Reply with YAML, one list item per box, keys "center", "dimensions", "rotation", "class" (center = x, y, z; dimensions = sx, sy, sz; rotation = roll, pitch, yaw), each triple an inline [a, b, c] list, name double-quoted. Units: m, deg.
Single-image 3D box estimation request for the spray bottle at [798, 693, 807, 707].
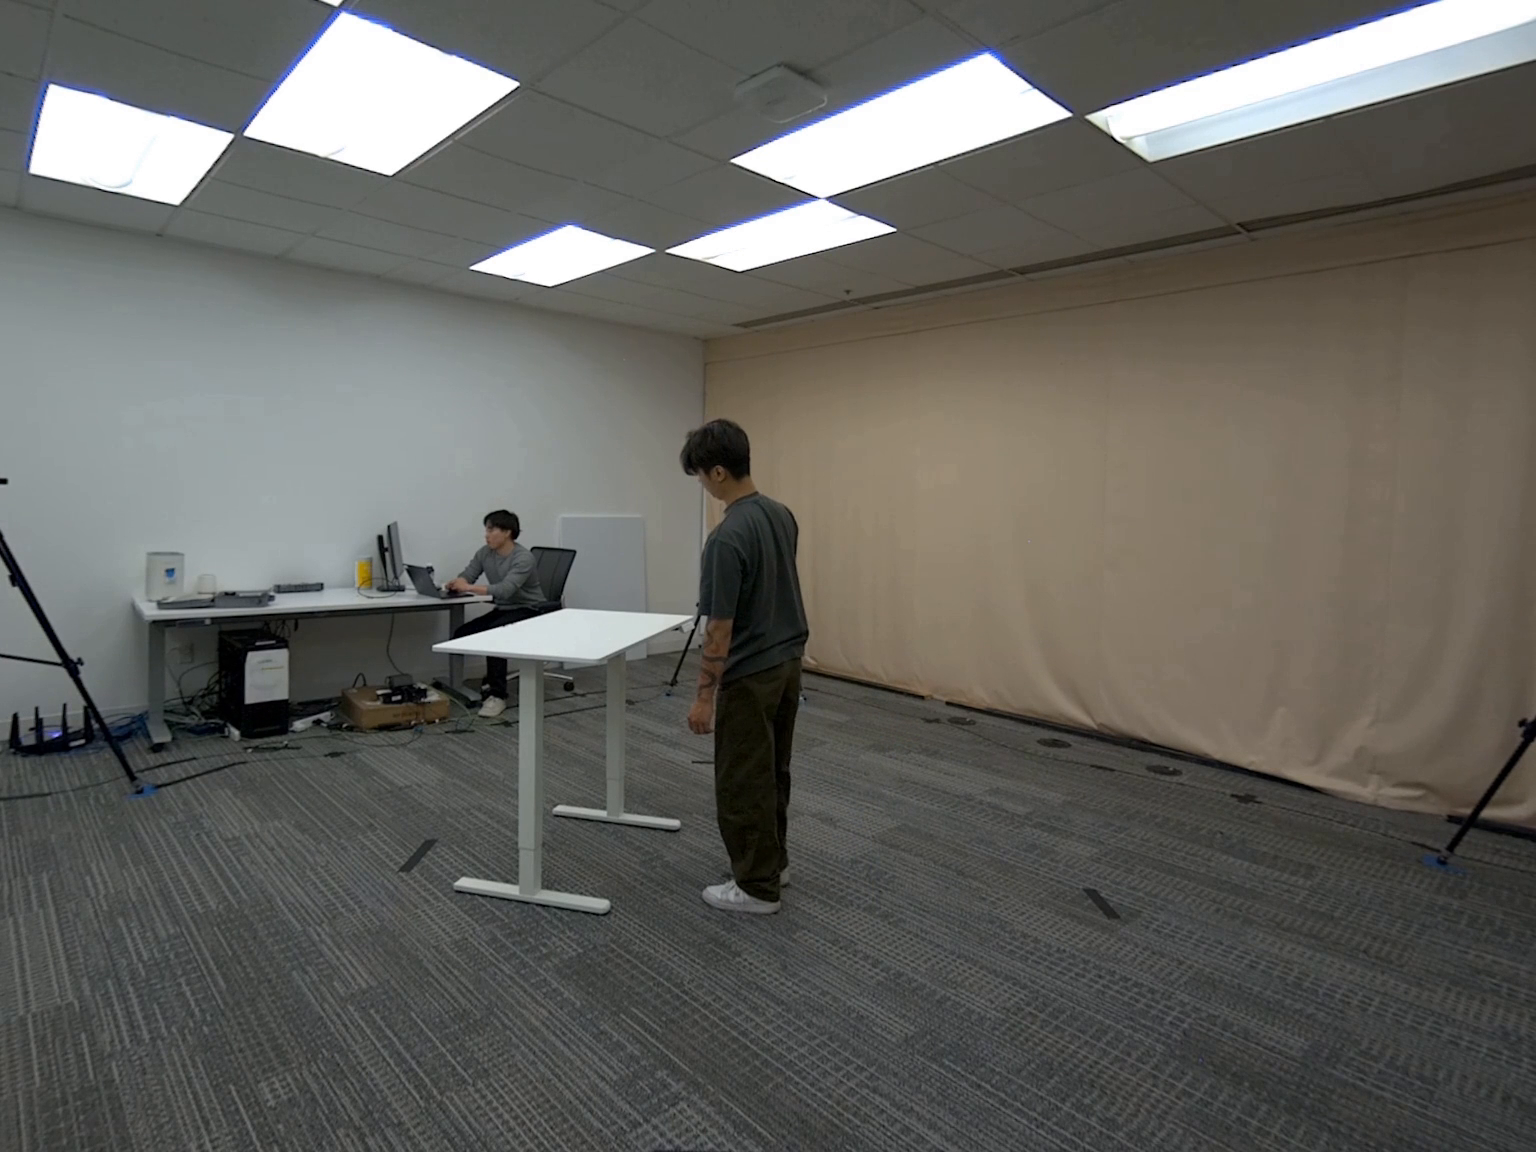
- center: [0.015, 0.383, 3.138]
  dimensions: [0.086, 0.303, 0.089]
  rotation: [-32, -21, -20]
  class: "spray bottle"
